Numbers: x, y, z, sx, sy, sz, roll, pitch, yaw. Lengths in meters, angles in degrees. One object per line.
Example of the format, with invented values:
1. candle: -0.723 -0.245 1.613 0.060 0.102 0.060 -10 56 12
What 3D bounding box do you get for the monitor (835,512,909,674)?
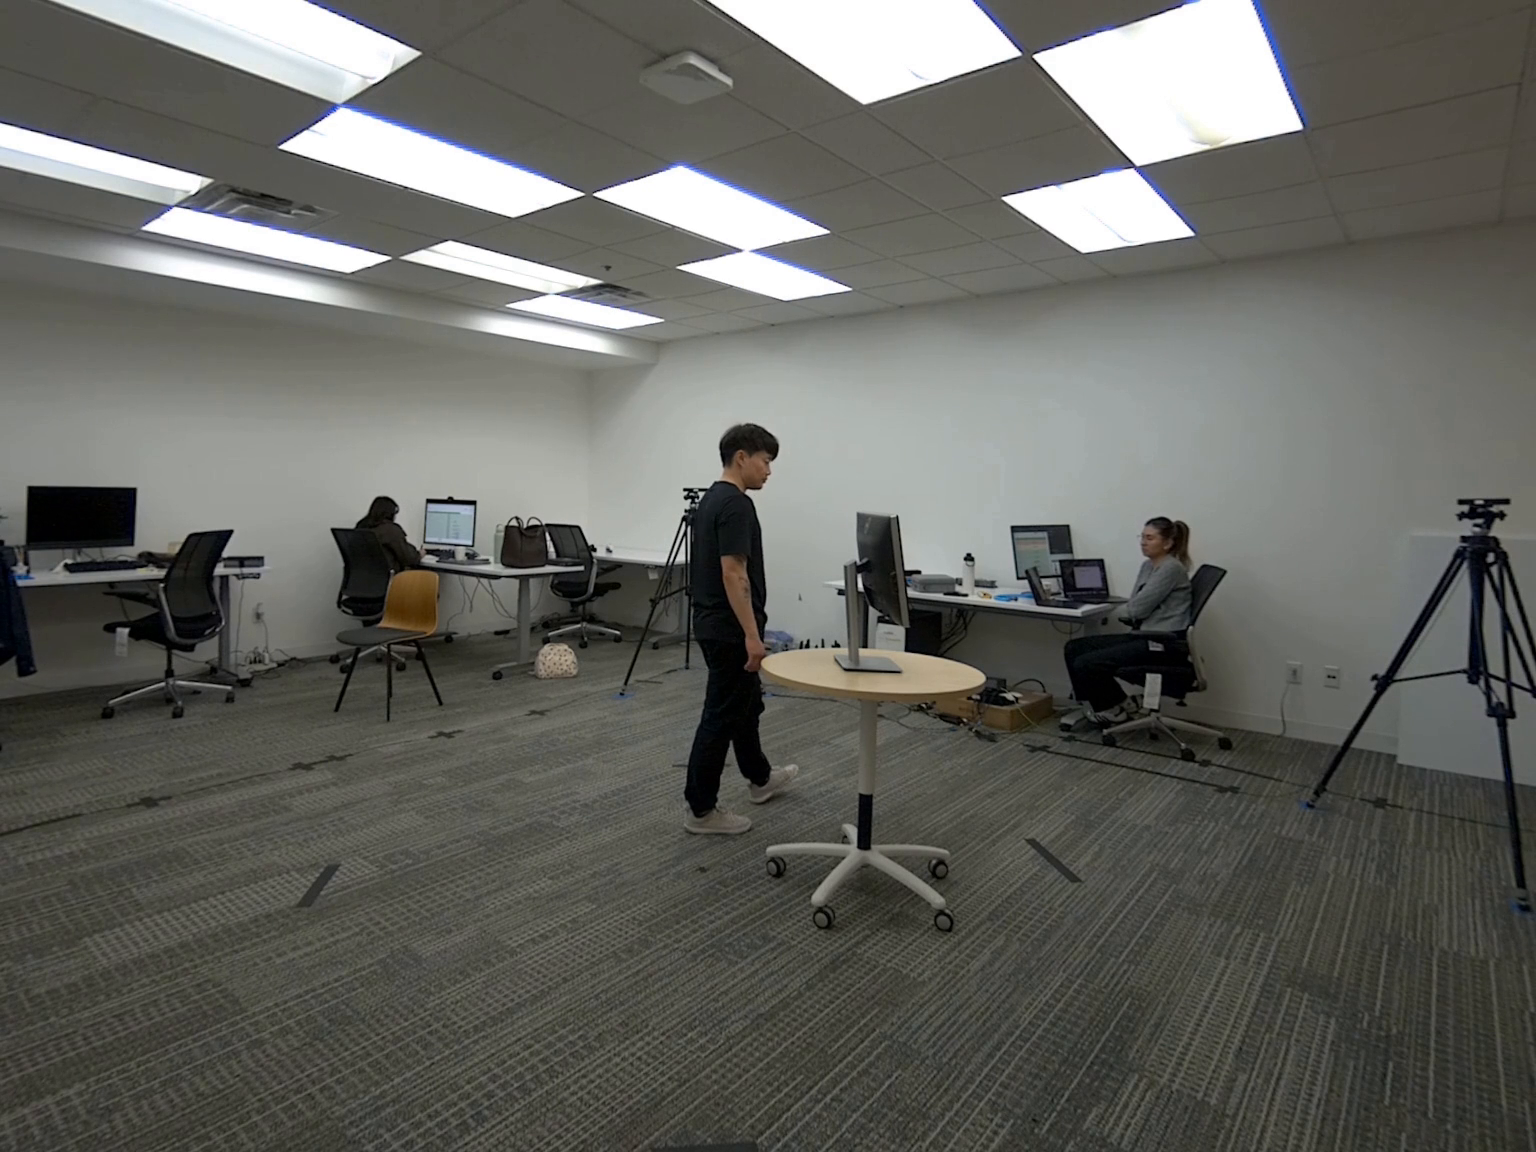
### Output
1. monitor: 0.349 0.049 2.993 0.186 0.521 0.544 3 4 -7
